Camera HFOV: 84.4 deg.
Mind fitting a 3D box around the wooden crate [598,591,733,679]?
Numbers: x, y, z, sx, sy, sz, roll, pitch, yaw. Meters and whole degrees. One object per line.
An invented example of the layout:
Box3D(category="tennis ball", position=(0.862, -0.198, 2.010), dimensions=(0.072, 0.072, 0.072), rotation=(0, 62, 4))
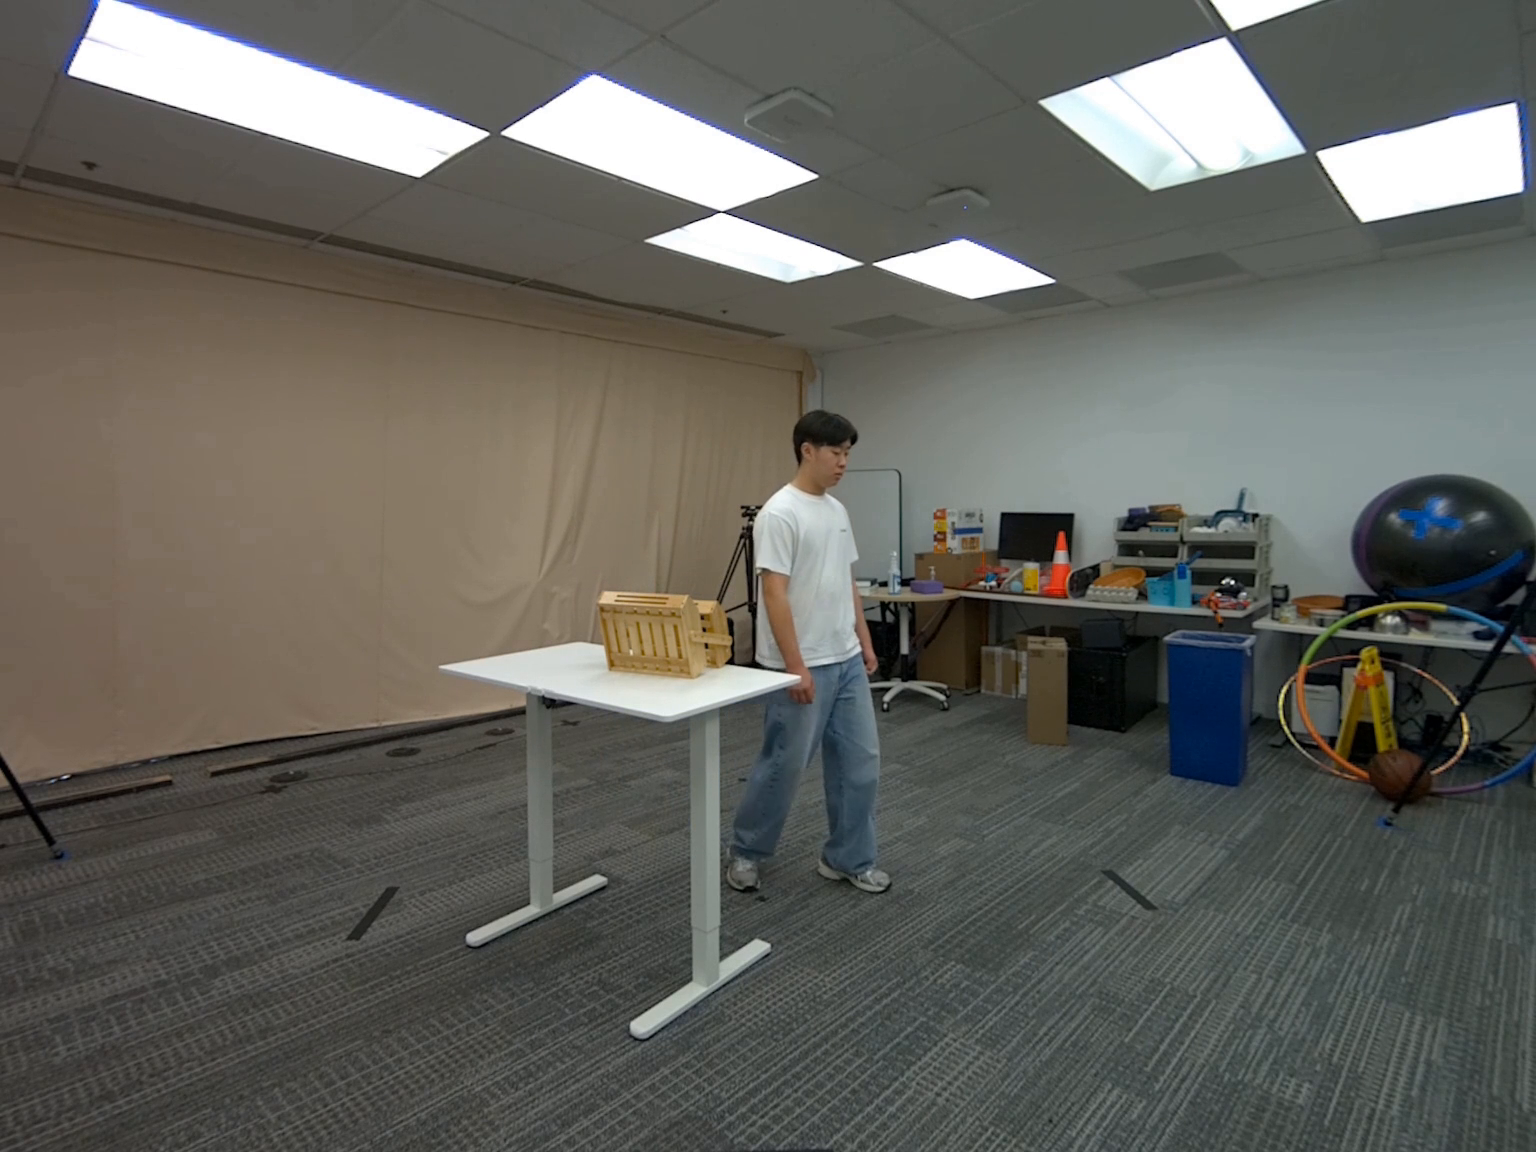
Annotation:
Box3D(category="wooden crate", position=(-0.321, 0.159, 2.634), dimensions=(0.333, 0.298, 0.270), rotation=(2, 21, 24))
